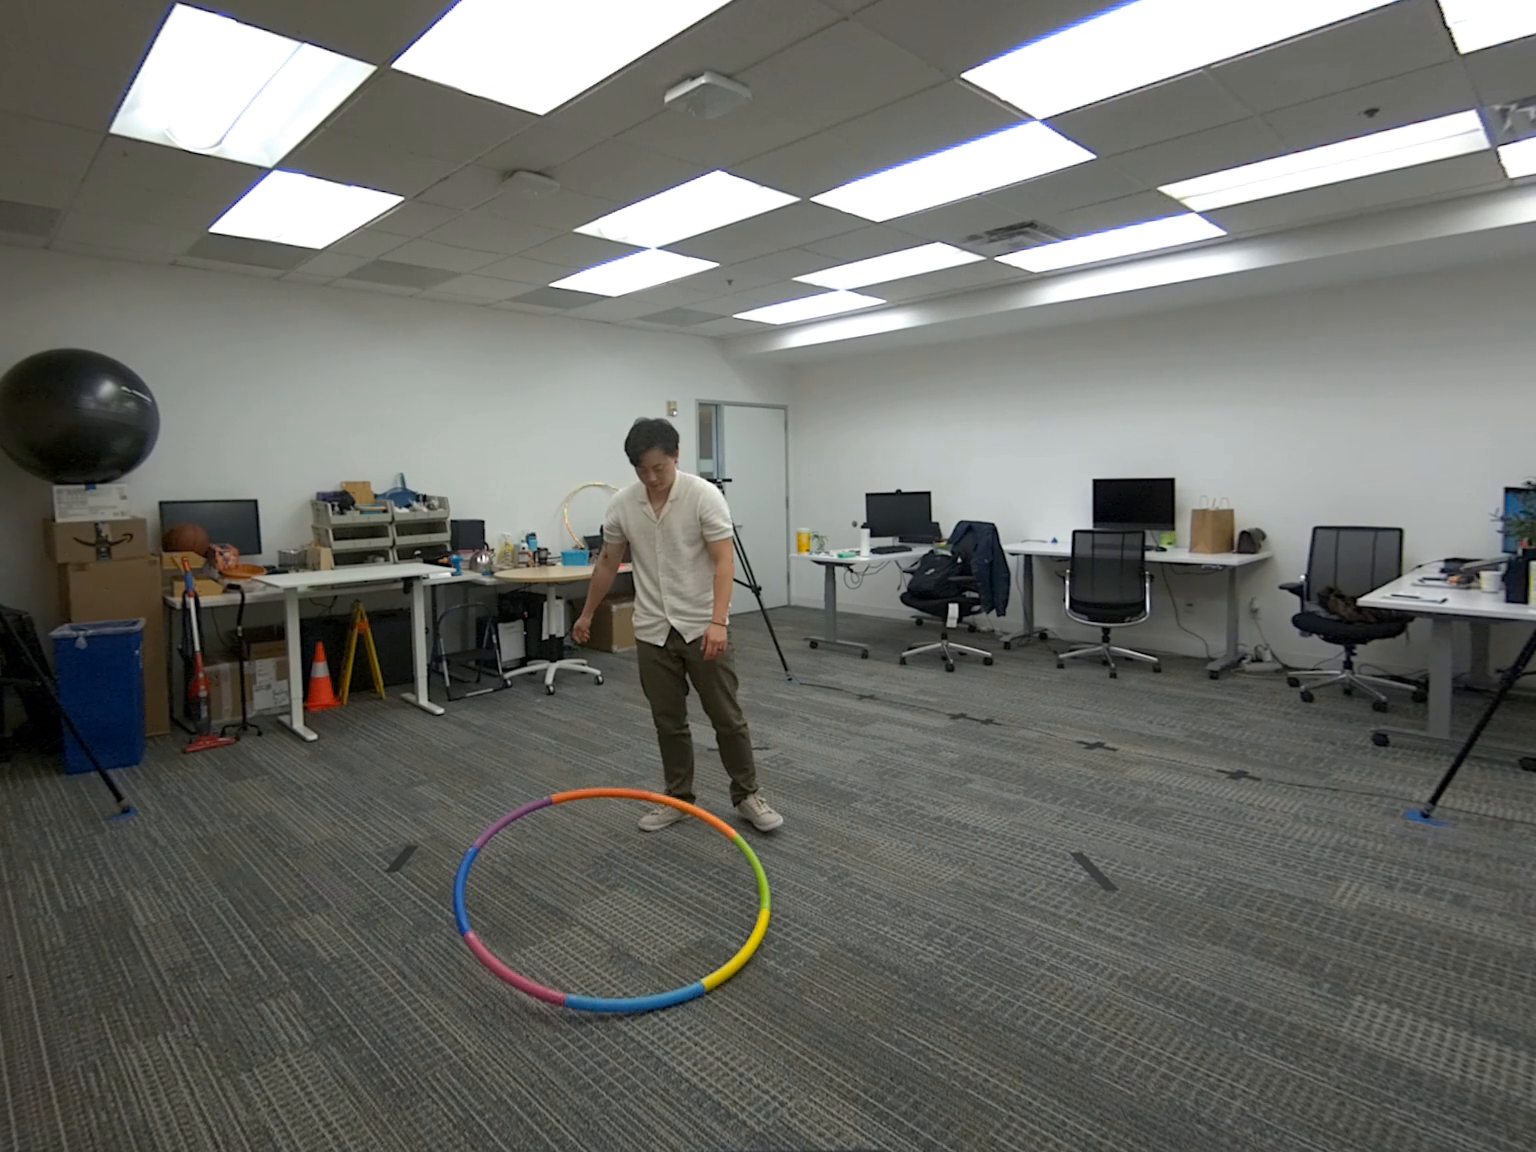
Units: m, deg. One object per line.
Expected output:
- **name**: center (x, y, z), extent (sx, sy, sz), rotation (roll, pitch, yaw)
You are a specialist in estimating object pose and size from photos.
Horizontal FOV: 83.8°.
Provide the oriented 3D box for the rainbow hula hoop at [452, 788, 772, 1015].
- **rainbow hula hoop**: center (-0.480, 0.973, 2.696), extent (0.976, 0.035, 0.994), rotation (5, 17, -3)
